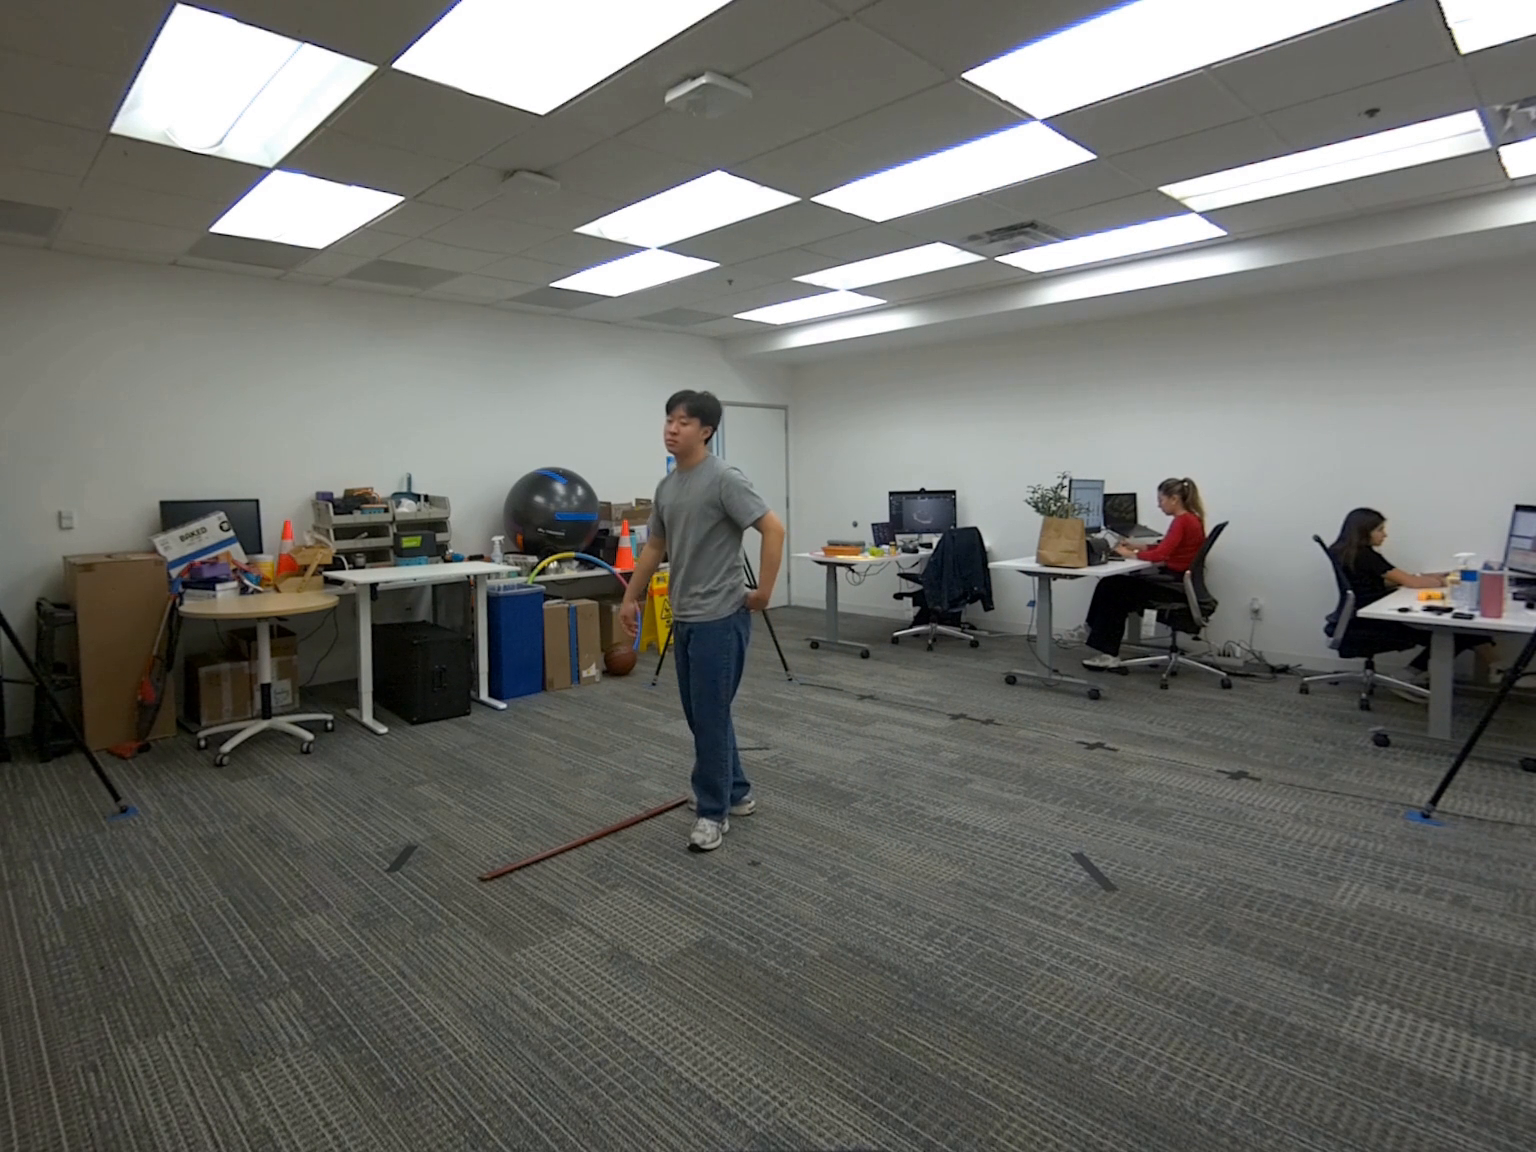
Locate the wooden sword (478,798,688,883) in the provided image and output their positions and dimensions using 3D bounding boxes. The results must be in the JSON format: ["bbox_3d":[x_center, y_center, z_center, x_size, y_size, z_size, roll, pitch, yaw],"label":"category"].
[{"bbox_3d":[-0.660,1.009,3.359,0.052,0.024,0.998,-10,-1,43],"label":"wooden sword"}]
